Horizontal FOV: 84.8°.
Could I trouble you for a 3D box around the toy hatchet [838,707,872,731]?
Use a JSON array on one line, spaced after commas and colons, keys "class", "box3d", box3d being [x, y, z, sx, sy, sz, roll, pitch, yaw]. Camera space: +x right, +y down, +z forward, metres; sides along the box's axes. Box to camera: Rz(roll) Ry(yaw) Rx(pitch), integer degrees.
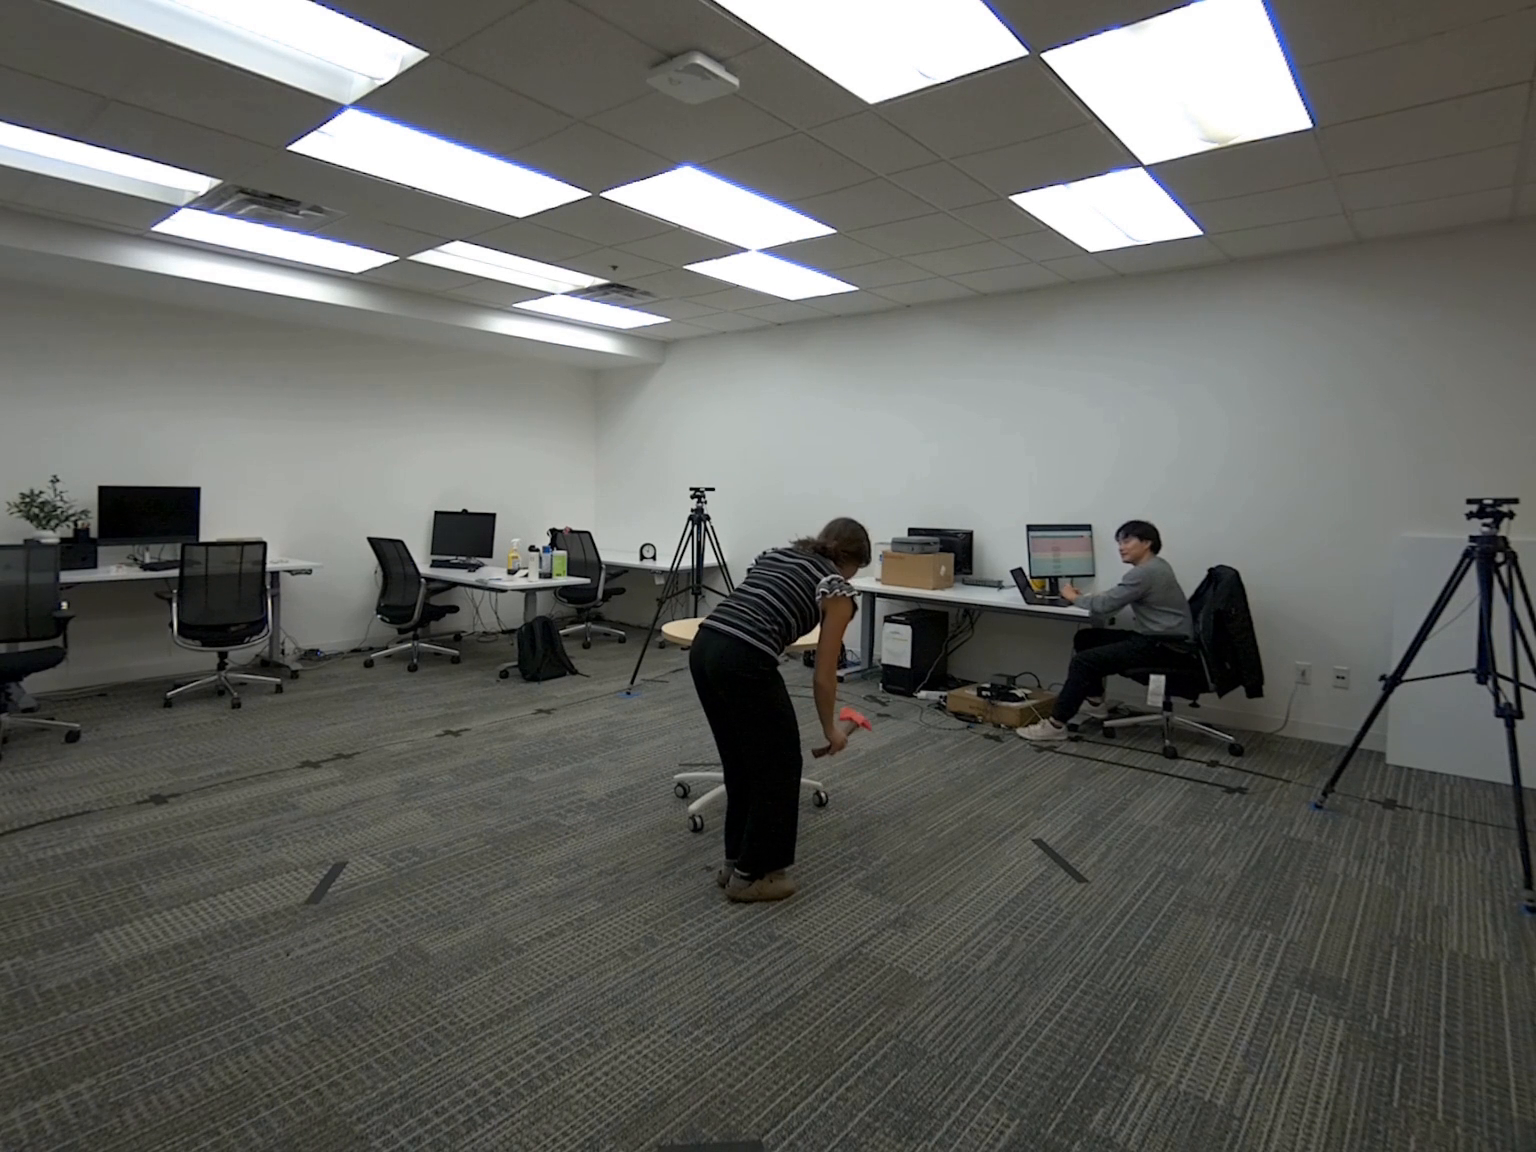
[{"class": "toy hatchet", "box3d": [0.237, 0.564, 3.128, 0.266, 0.135, 0.029, -24, -29, -24]}]
